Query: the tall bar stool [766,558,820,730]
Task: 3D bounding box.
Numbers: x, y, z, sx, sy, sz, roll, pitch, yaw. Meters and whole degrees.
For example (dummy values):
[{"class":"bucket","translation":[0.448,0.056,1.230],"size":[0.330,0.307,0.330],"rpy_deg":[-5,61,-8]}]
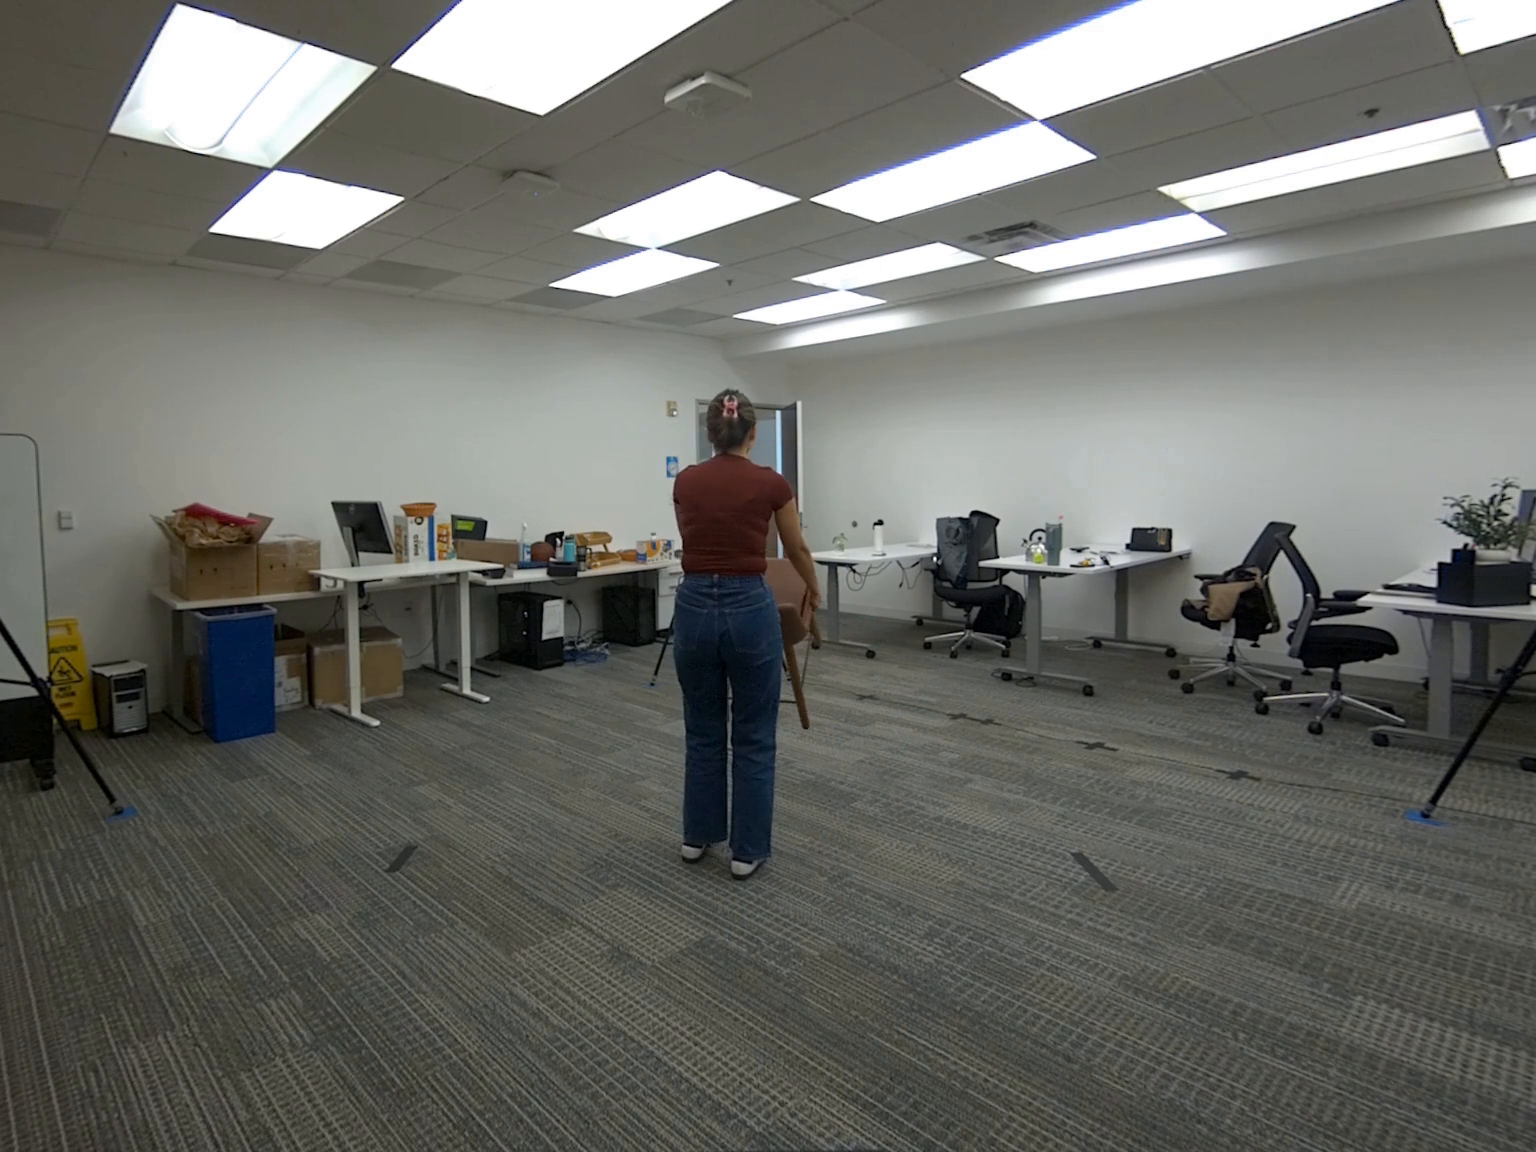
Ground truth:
[{"class":"tall bar stool","translation":[-0.033,0.214,3.481],"size":[0.462,0.477,0.861],"rpy_deg":[3,-38,11]}]
